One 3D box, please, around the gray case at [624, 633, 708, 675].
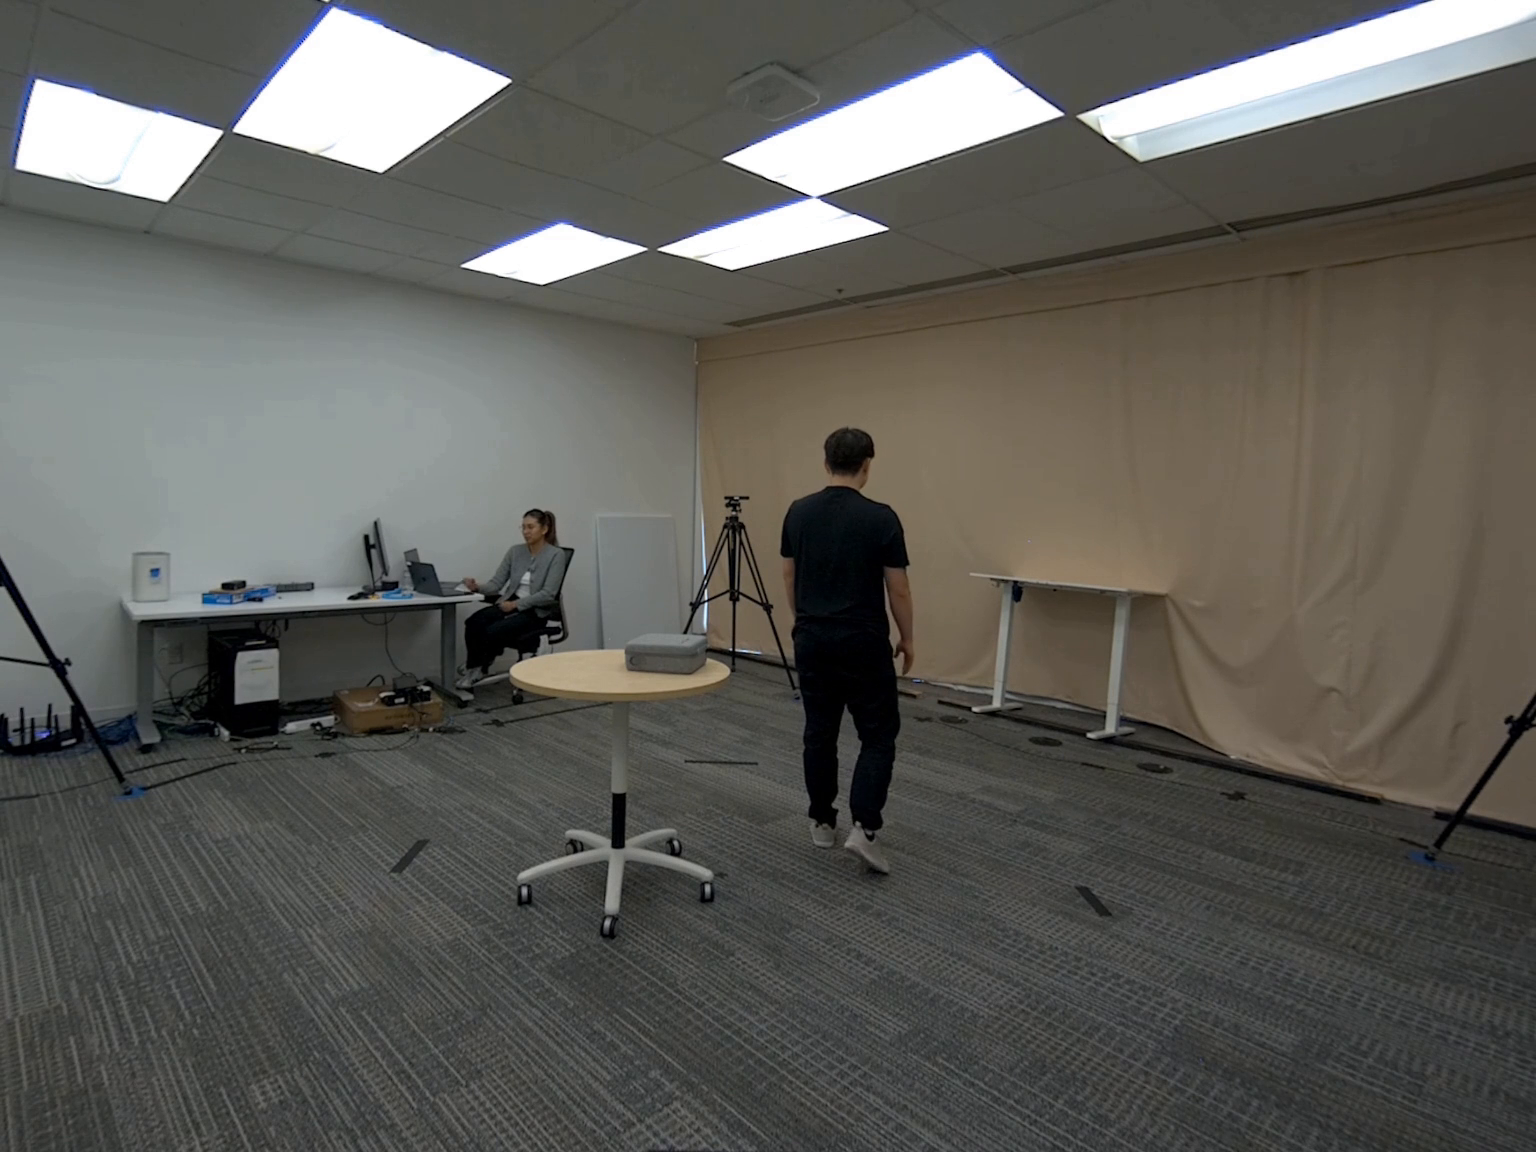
[{"bbox_3d":[-0.368,0.272,3.020,0.263,0.104,0.255,1,6,12],"label":"gray case"}]
